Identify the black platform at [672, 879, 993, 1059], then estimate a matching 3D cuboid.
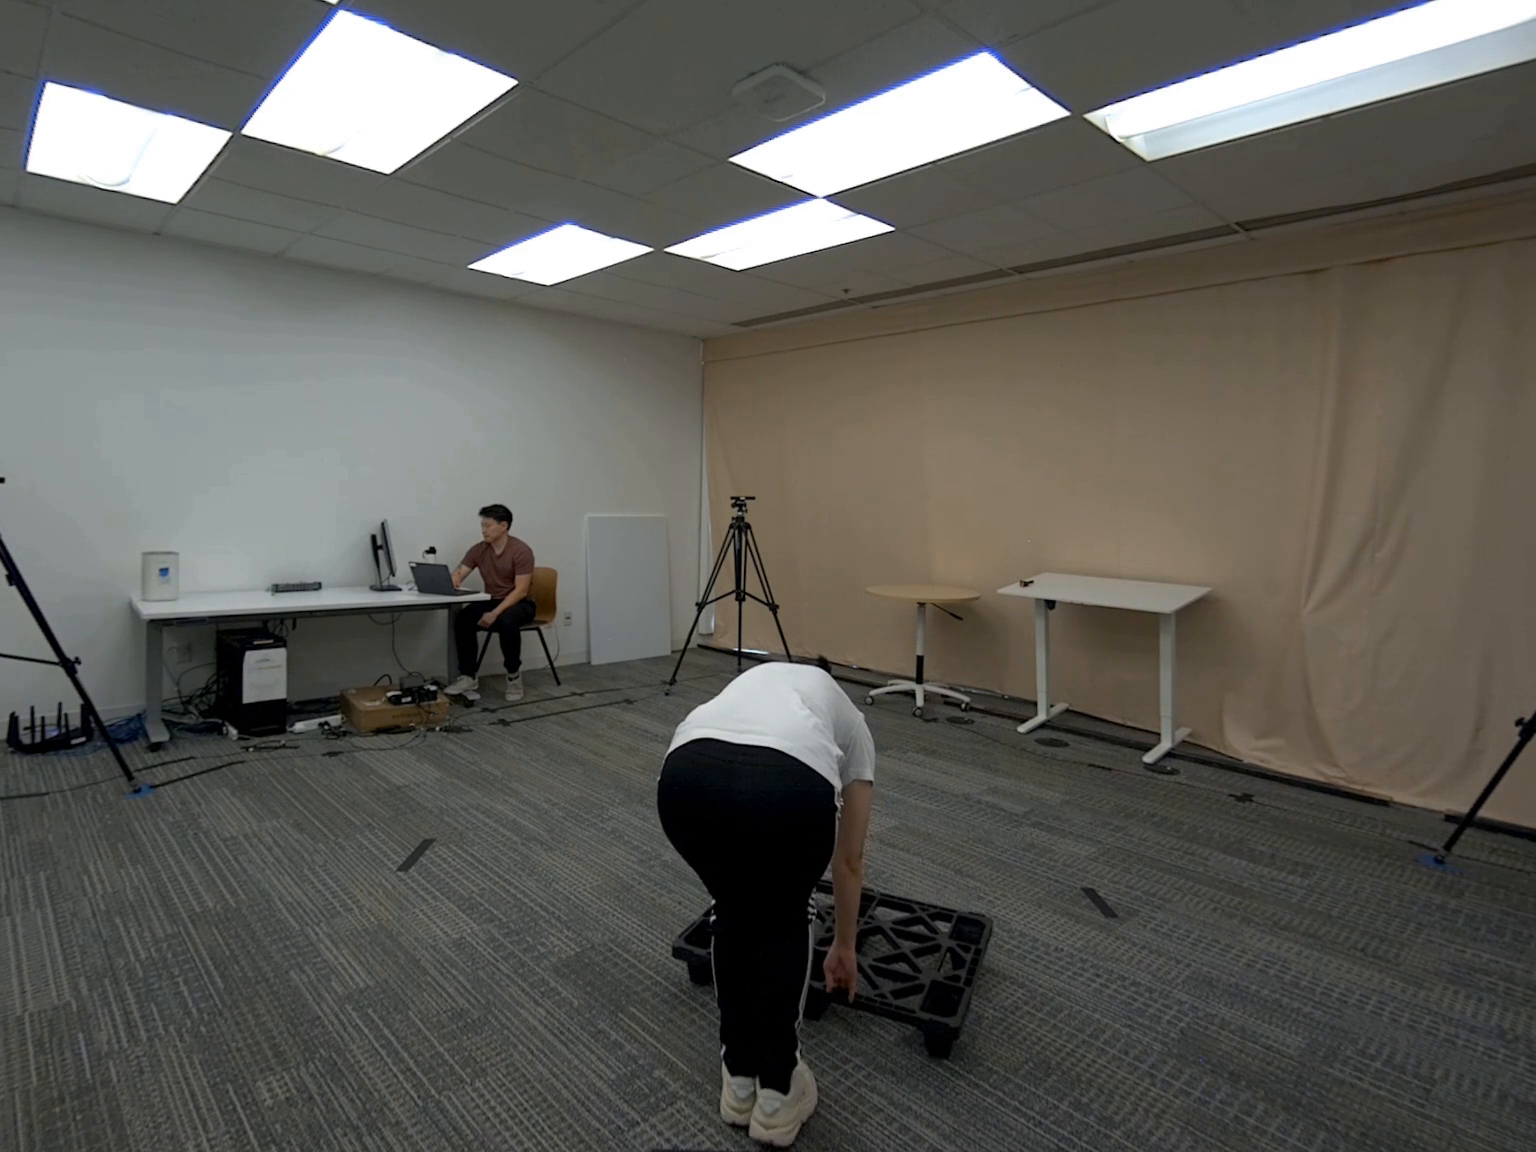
[{"bbox_3d":[0.201,1.106,2.466,0.821,0.143,0.596,4,7,24],"label":"black platform"}]
